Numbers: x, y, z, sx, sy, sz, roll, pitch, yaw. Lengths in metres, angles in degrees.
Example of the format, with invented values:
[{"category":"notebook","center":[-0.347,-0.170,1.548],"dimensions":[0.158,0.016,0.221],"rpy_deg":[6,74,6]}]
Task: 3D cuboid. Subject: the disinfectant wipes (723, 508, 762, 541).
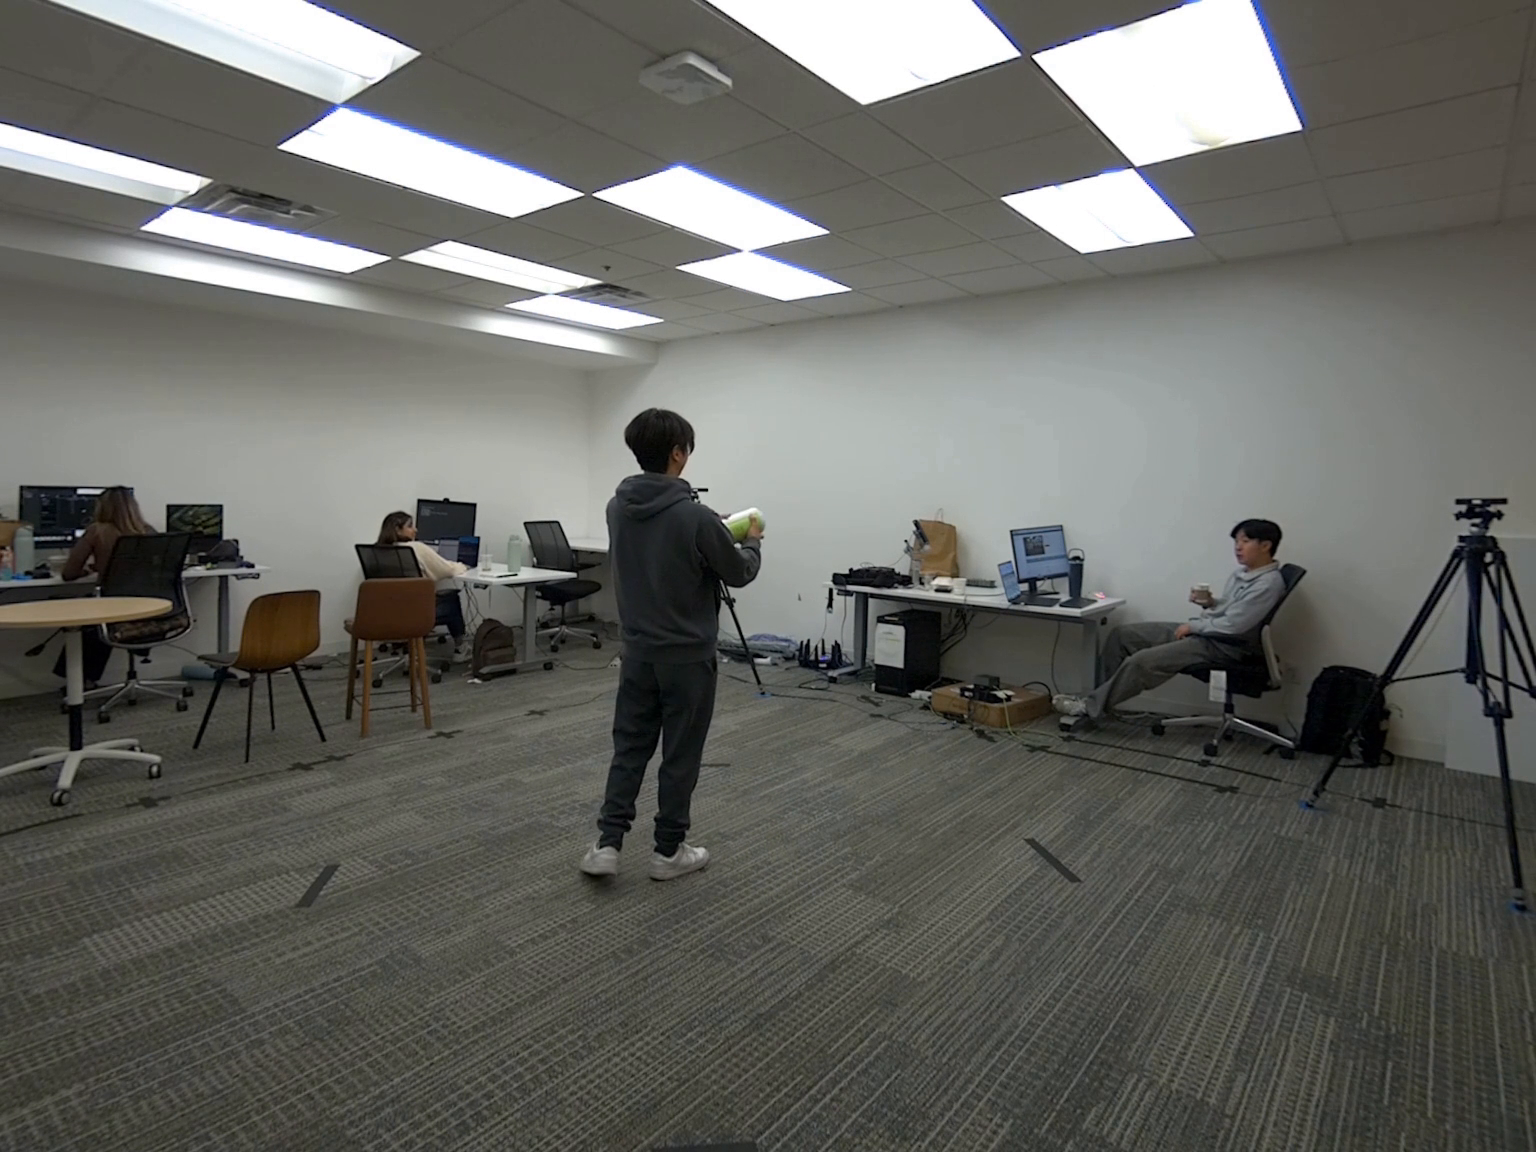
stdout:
[{"category":"disinfectant wipes","center":[-0.129,-0.187,3.298],"dimensions":[0.213,0.116,0.122],"rpy_deg":[-23,18,-38]}]
